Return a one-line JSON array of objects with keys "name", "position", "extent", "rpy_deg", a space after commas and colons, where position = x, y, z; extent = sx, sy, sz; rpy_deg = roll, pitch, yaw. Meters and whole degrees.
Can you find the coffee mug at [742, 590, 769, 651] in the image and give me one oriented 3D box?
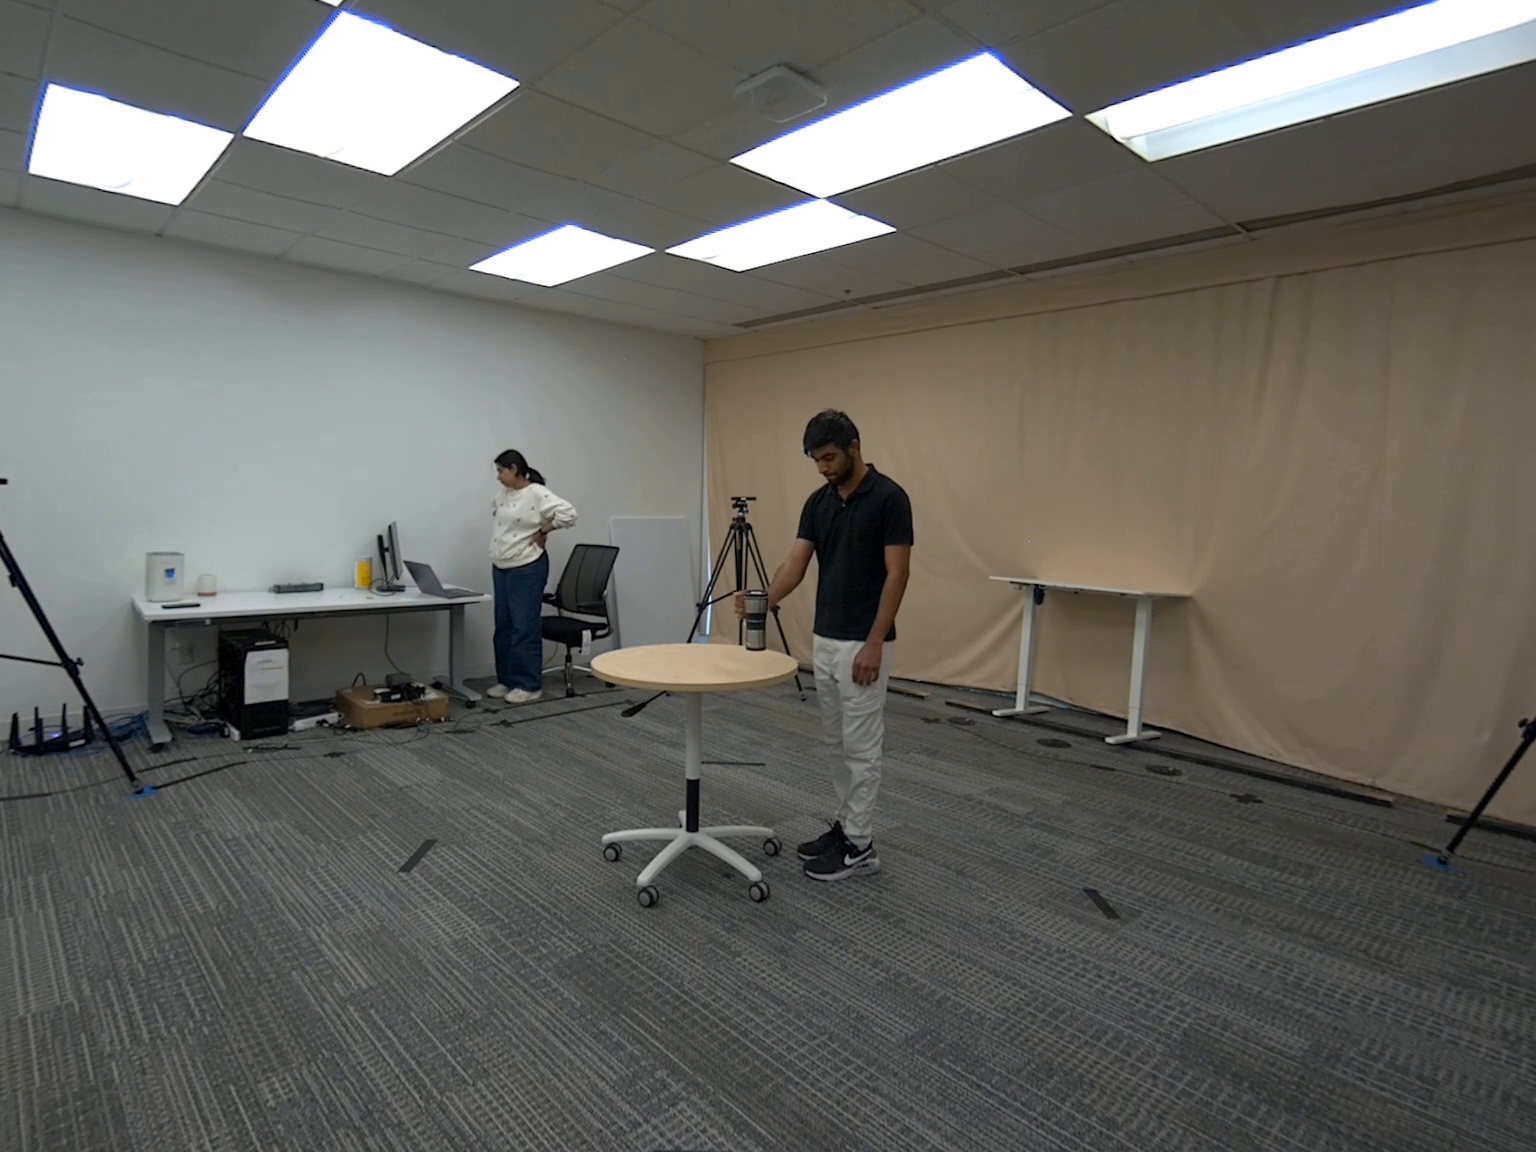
[{"name": "coffee mug", "position": [-0.039, 0.157, 2.947], "extent": [0.089, 0.203, 0.119], "rpy_deg": [-7, 0, 31]}]
